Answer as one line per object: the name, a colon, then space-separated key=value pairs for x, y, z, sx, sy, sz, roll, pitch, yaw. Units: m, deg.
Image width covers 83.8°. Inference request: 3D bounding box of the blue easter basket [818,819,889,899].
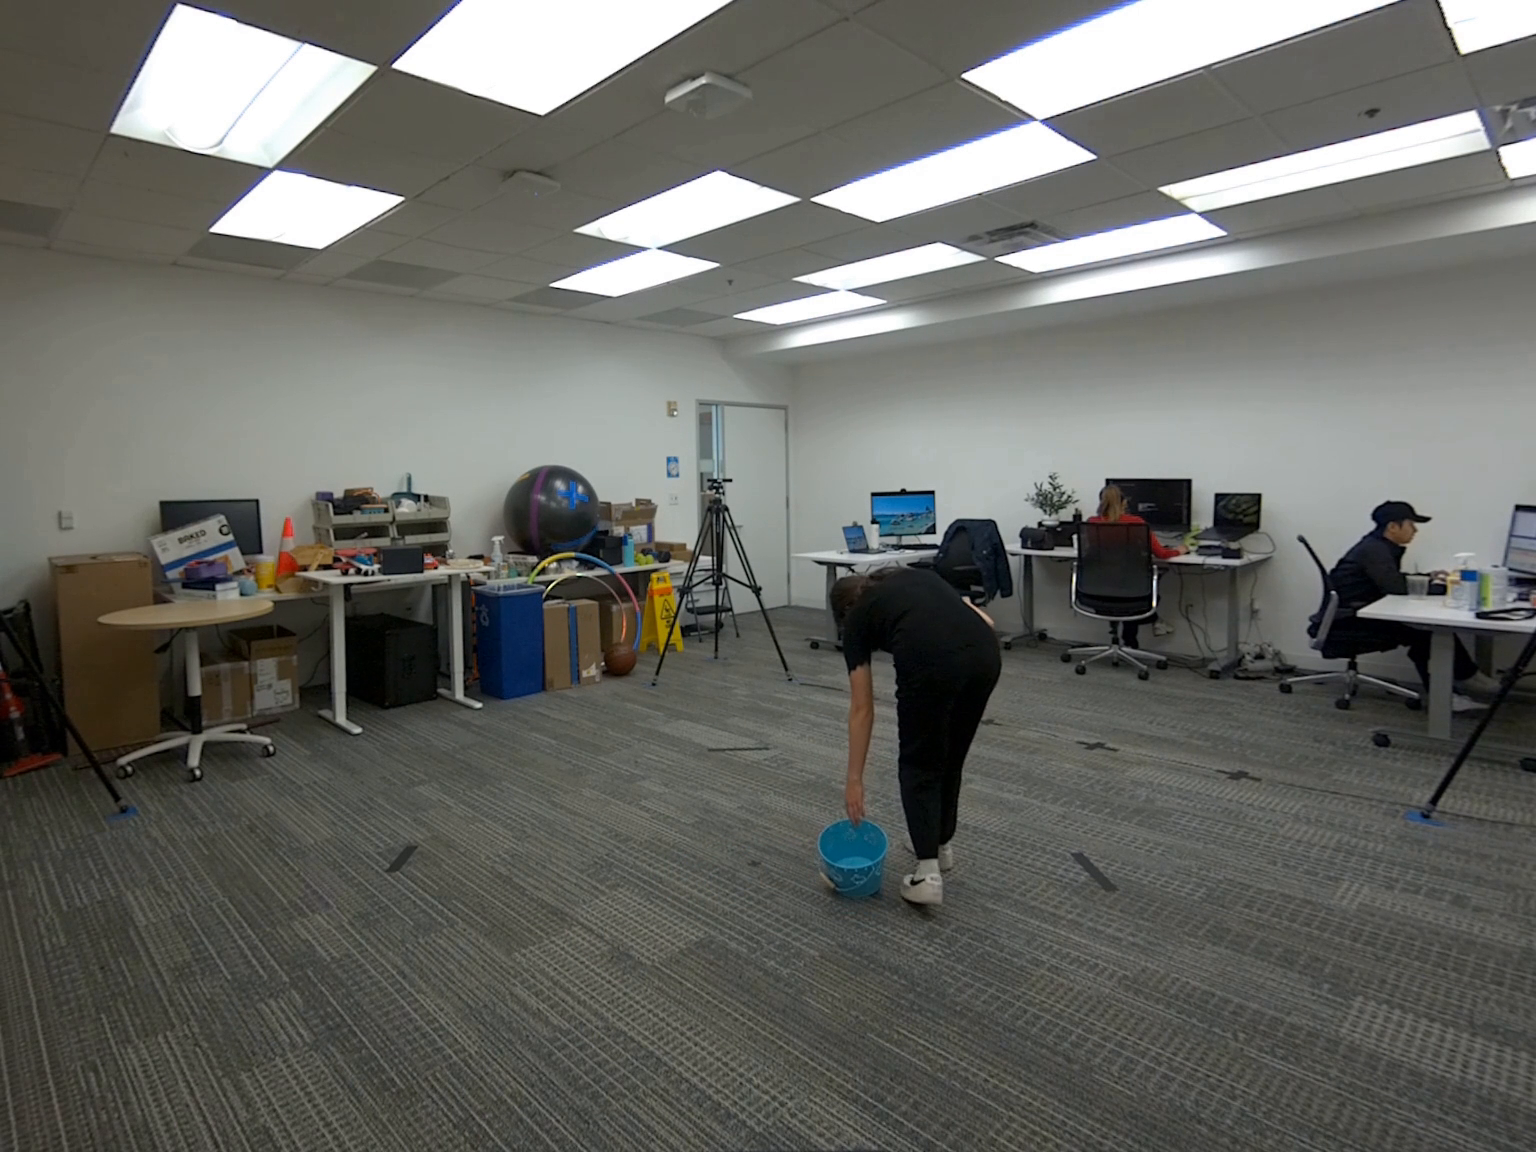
blue easter basket: x=0.304 y=0.961 z=2.889 sx=0.244 sy=0.153 sz=0.248 roll=-7 pitch=23 yaw=1
